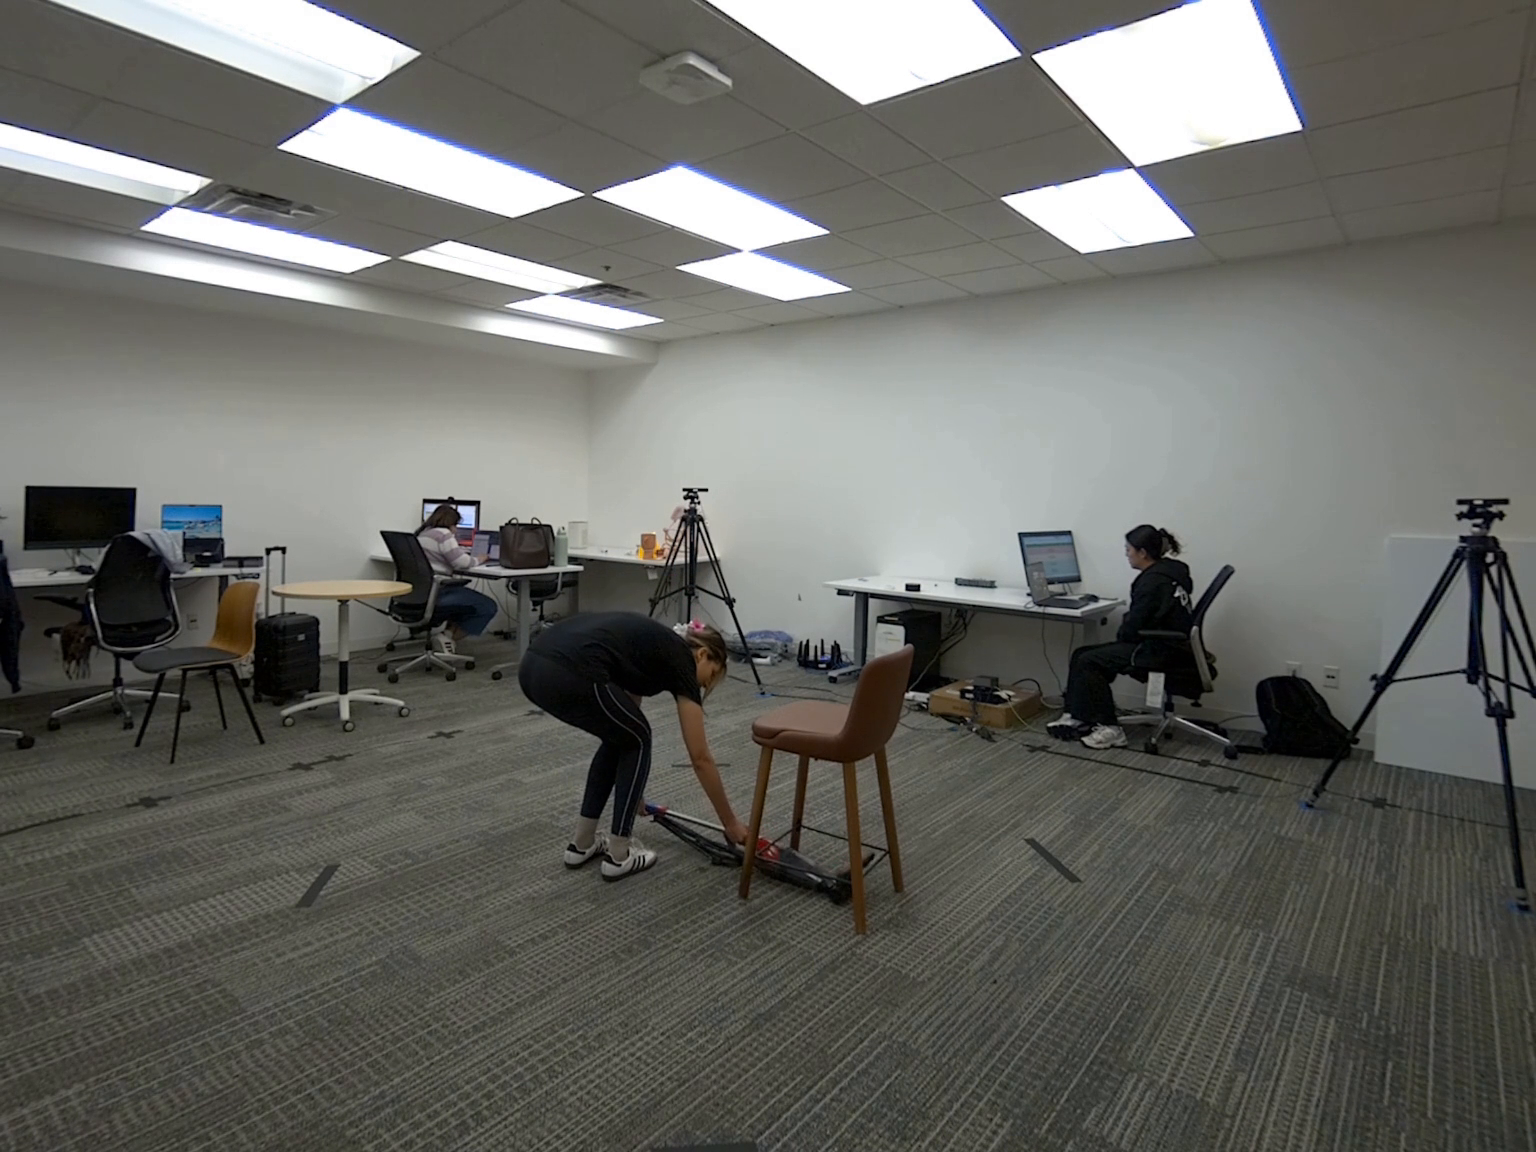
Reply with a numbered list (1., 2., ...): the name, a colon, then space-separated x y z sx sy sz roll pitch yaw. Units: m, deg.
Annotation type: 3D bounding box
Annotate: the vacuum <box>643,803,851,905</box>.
1. vacuum: -0.163 1.011 3.187 1.082 0.143 0.246 4 6 33
